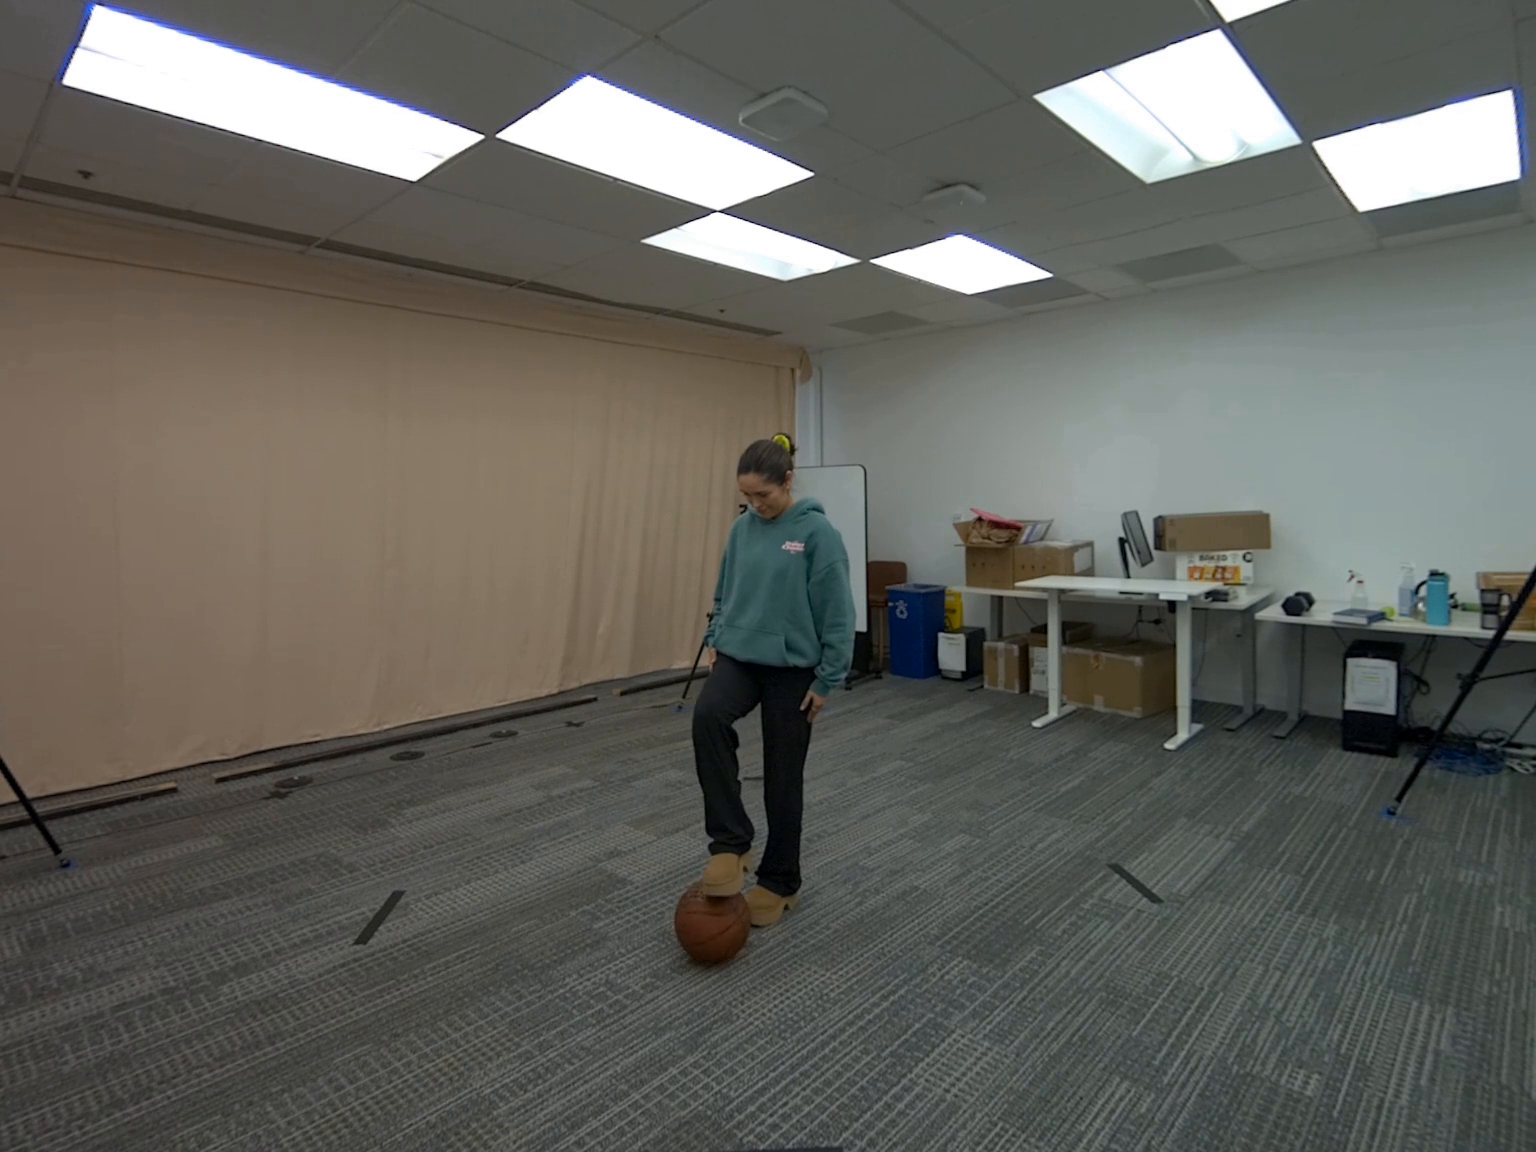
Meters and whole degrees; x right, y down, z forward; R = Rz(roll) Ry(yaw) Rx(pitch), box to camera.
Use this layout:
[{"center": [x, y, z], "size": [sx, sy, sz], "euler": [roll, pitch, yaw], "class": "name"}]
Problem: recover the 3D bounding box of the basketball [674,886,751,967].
[{"center": [-0.175, 1.059, 2.589], "size": [0.236, 0.235, 0.237], "euler": [-1, 4, -2], "class": "basketball"}]
